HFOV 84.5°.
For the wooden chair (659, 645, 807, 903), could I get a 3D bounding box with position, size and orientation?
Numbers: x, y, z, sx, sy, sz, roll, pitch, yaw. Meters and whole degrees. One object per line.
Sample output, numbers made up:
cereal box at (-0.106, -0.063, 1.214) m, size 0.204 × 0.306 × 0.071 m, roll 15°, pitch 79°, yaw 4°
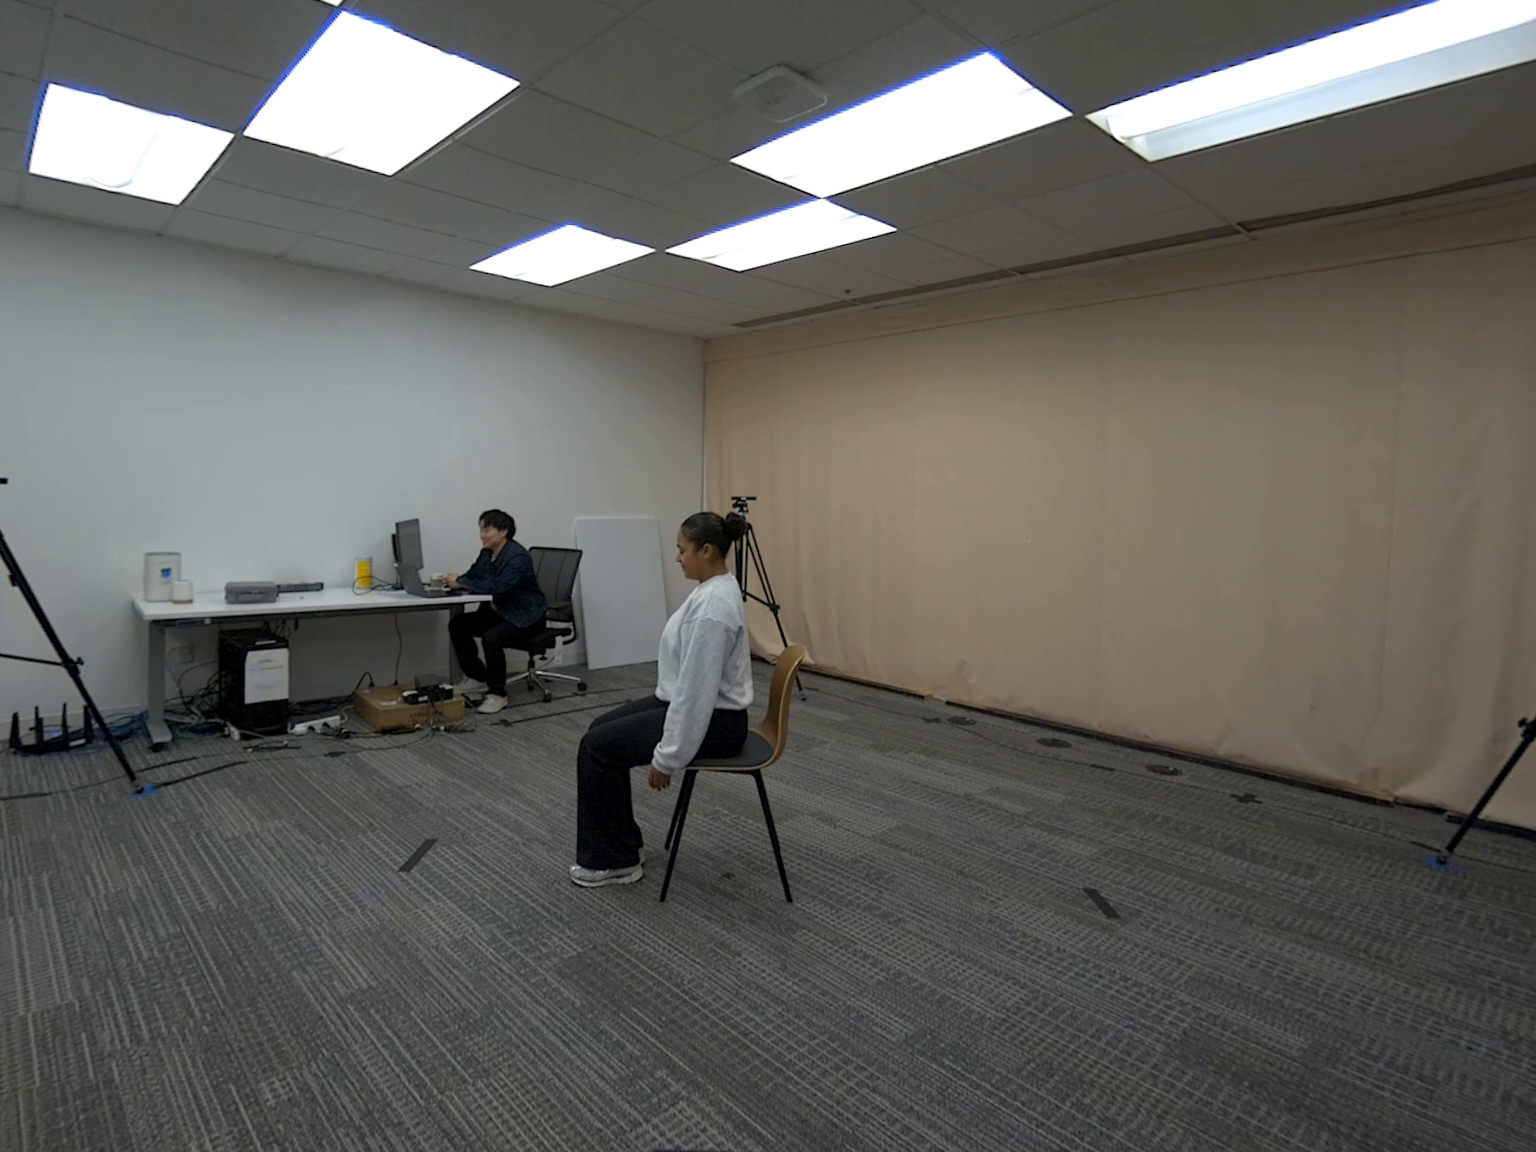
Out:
wooden chair at (-0.165, 0.681, 3.094) m, size 0.521 × 0.875 × 0.481 m, roll 5°, pitch 3°, yaw -4°
